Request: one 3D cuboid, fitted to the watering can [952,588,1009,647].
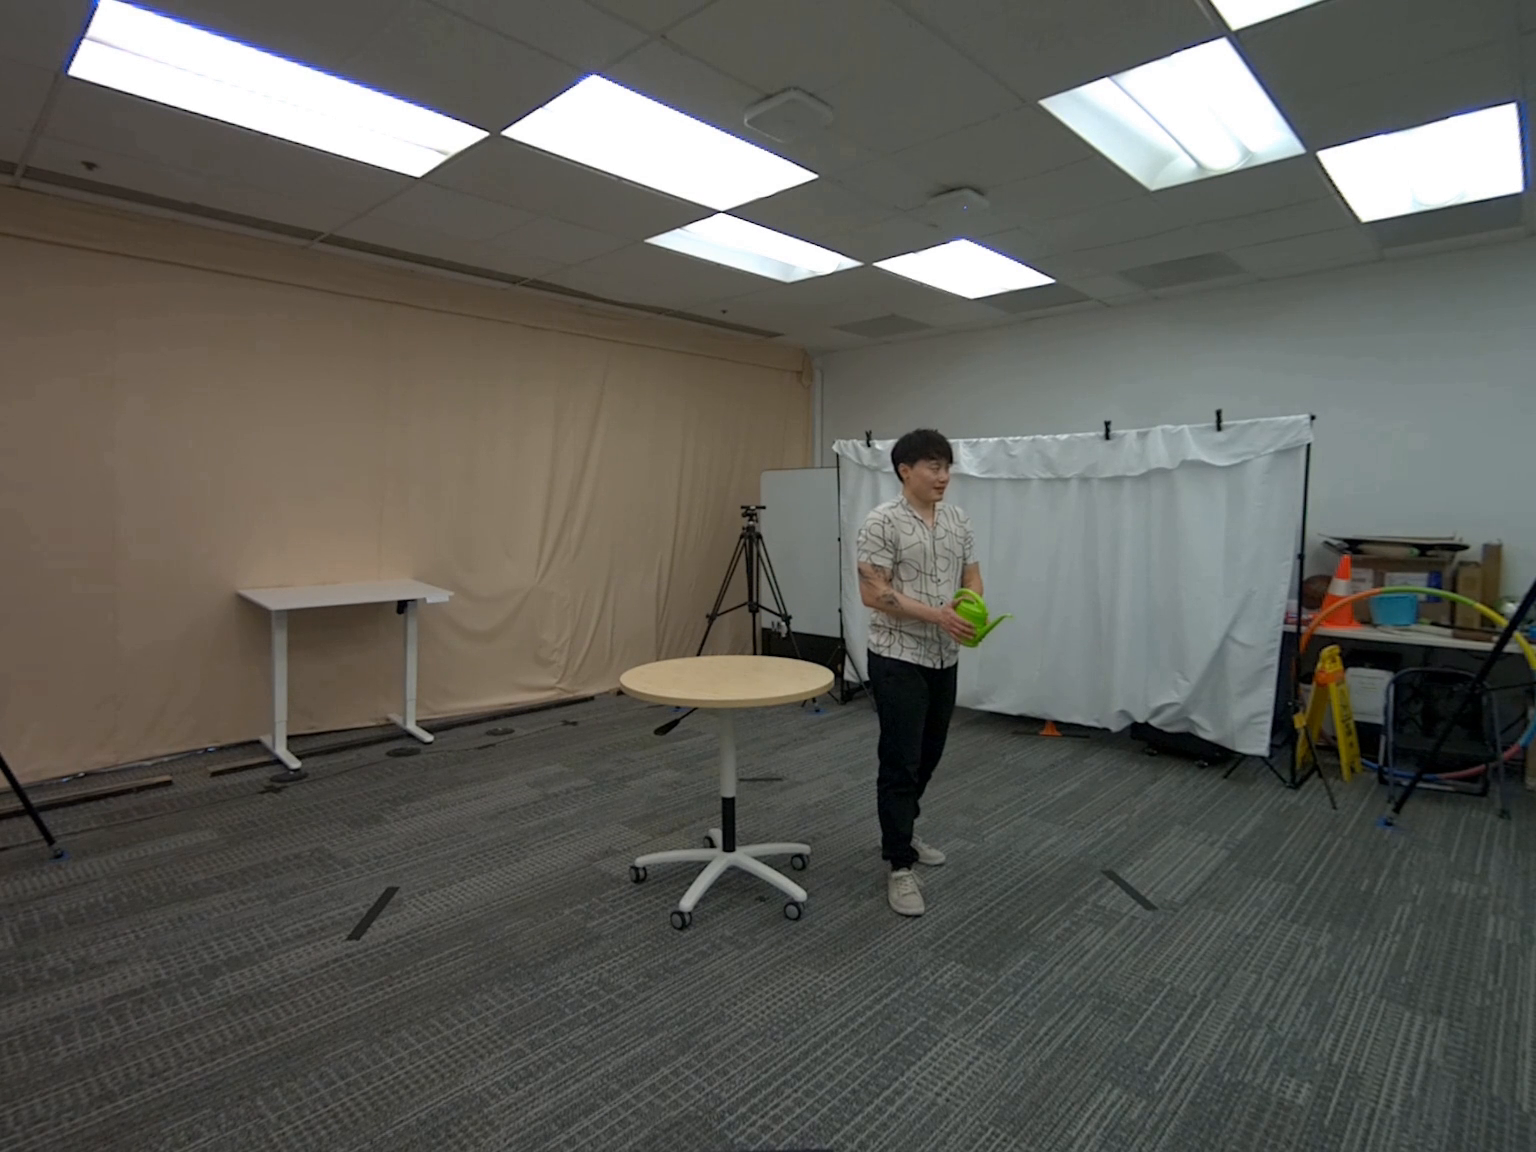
[{"bbox_3d":[0.712,0.160,2.869,0.097,0.175,0.284,8,20,-12],"label":"watering can"}]
